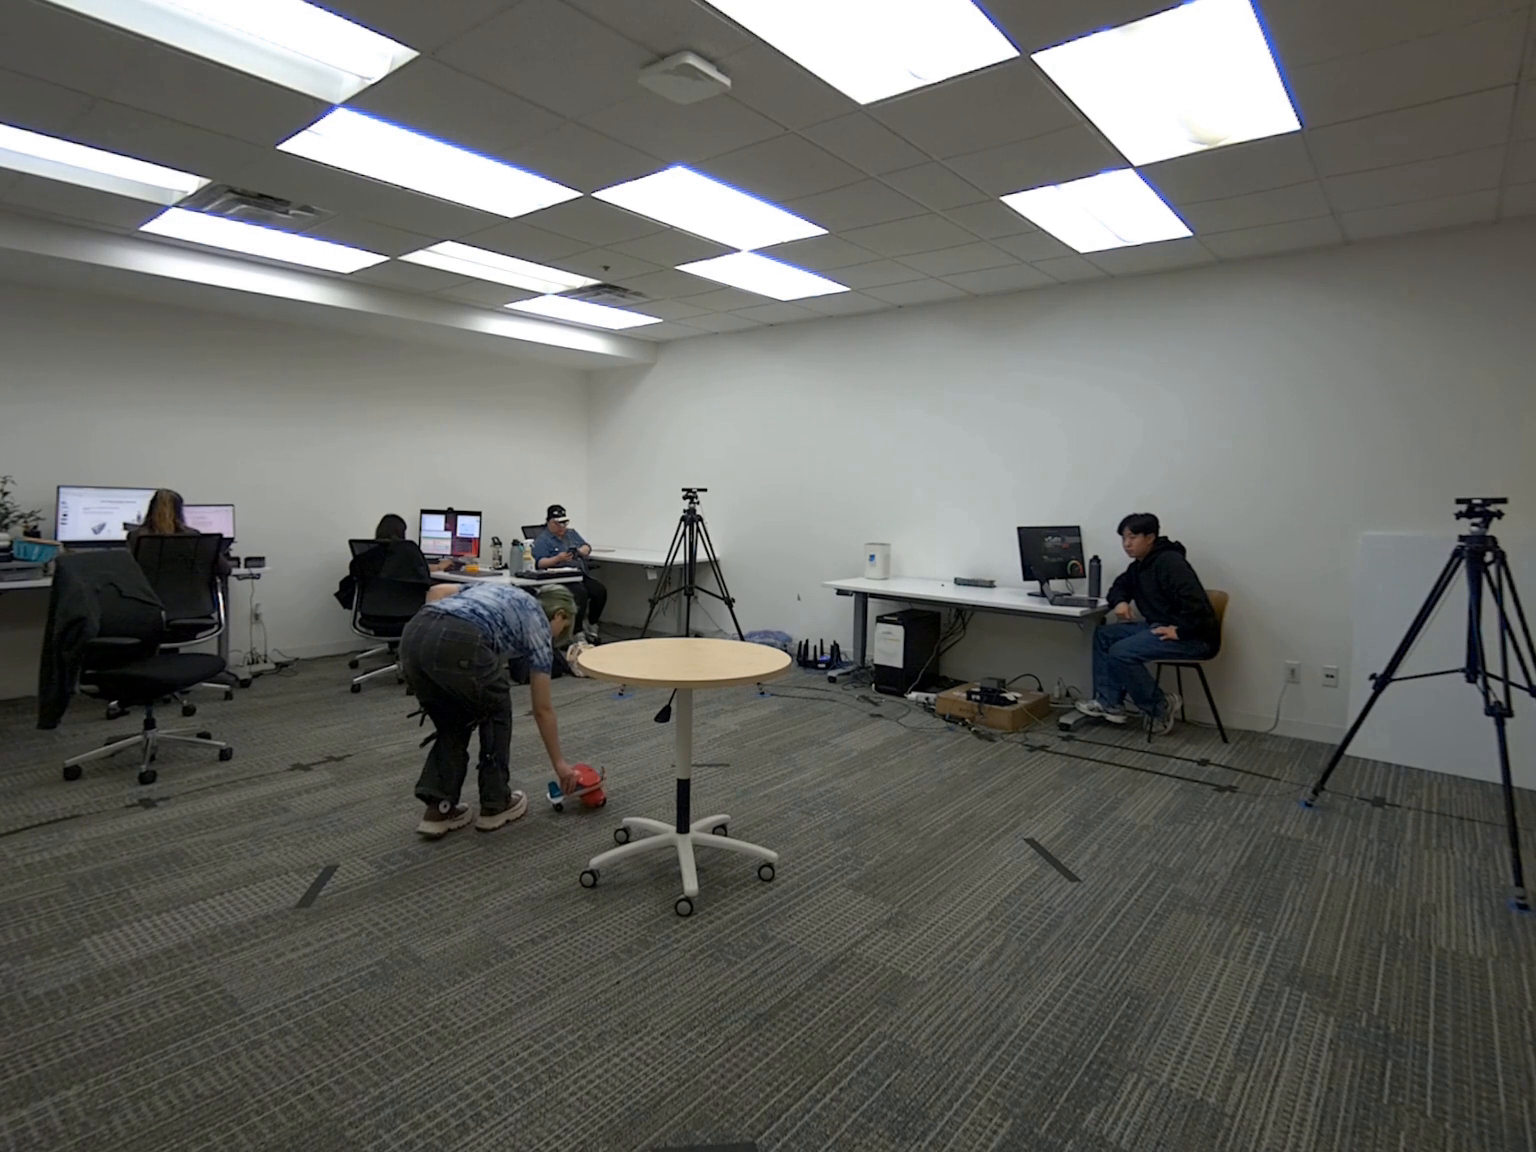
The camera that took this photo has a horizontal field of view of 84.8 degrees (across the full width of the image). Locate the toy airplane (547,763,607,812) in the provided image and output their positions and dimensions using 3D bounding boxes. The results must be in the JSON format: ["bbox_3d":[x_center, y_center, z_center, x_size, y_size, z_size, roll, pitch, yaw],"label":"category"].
[{"bbox_3d":[-0.834,0.935,3.694,0.259,0.156,0.252,3,4,32],"label":"toy airplane"}]
